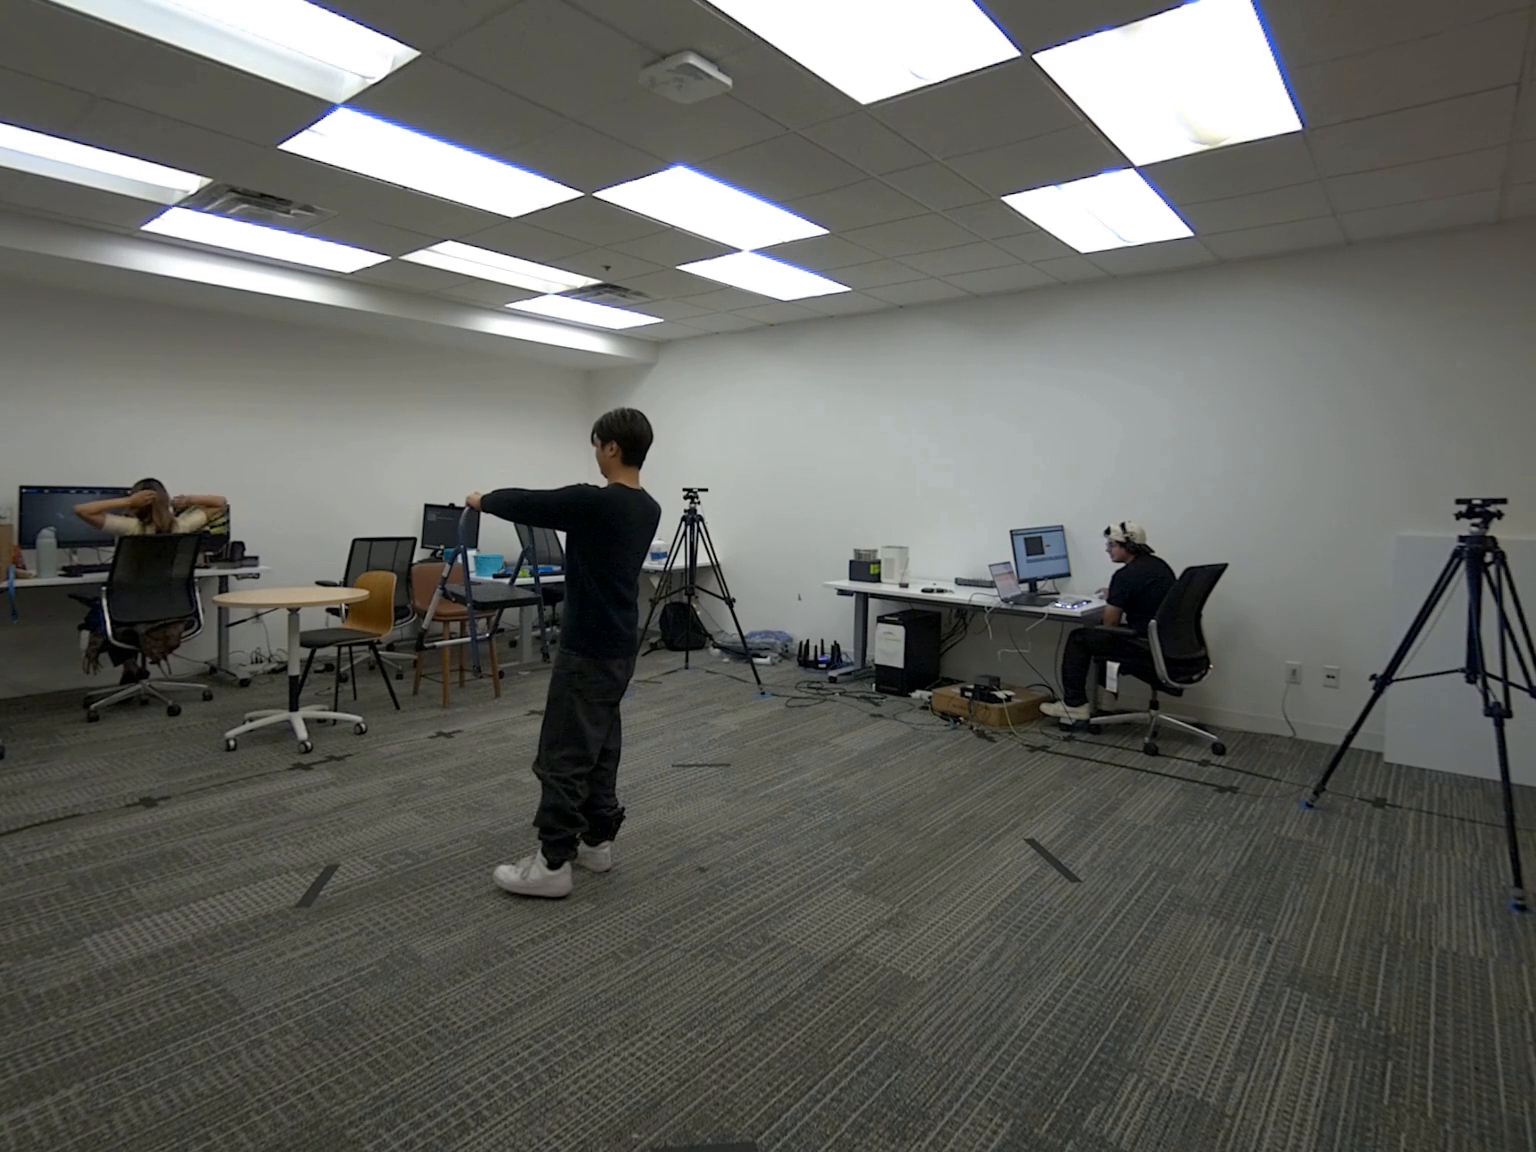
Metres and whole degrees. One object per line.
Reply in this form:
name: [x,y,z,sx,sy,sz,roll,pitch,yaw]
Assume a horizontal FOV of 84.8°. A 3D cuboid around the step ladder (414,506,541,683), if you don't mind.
step ladder: [-1.063,0.019,3.297,0.359,0.604,0.420,12,4,23]
